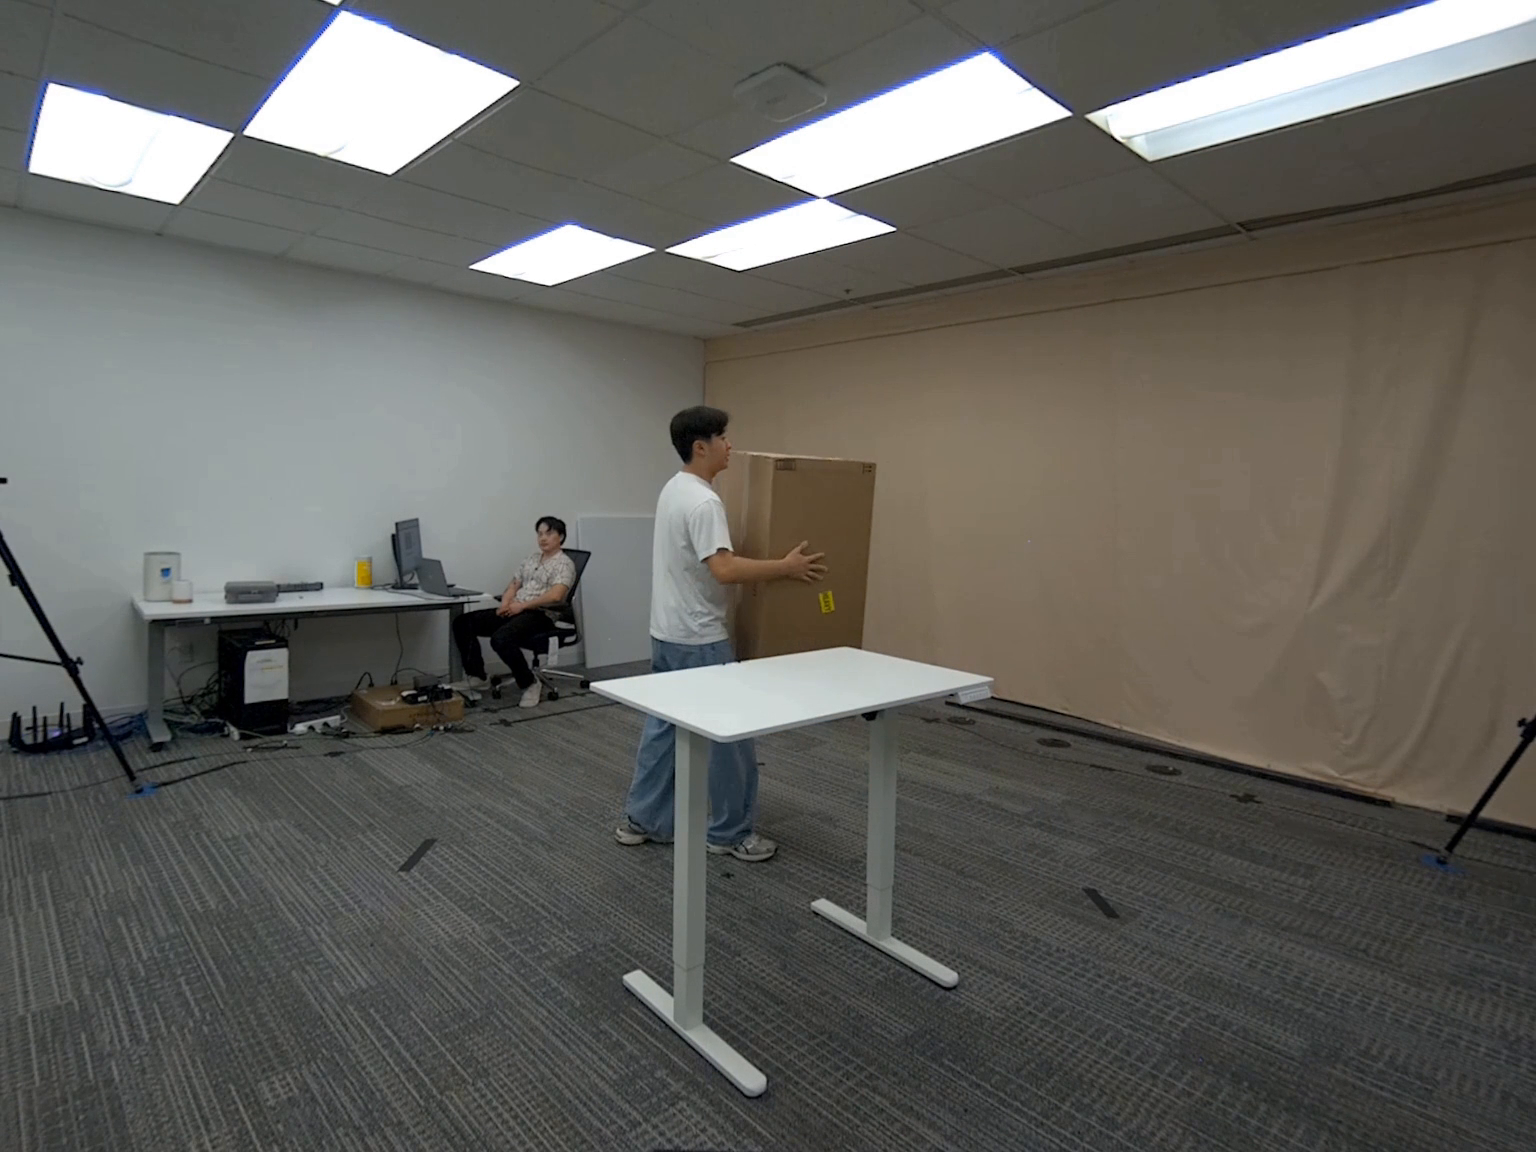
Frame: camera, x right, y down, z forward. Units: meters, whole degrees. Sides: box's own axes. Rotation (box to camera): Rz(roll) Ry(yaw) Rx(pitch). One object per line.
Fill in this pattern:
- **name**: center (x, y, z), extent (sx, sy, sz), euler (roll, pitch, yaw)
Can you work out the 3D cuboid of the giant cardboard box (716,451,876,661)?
- **giant cardboard box**: center (0.091, 0.020, 3.472), extent (0.420, 1.021, 0.588), euler (2, 8, -17)
